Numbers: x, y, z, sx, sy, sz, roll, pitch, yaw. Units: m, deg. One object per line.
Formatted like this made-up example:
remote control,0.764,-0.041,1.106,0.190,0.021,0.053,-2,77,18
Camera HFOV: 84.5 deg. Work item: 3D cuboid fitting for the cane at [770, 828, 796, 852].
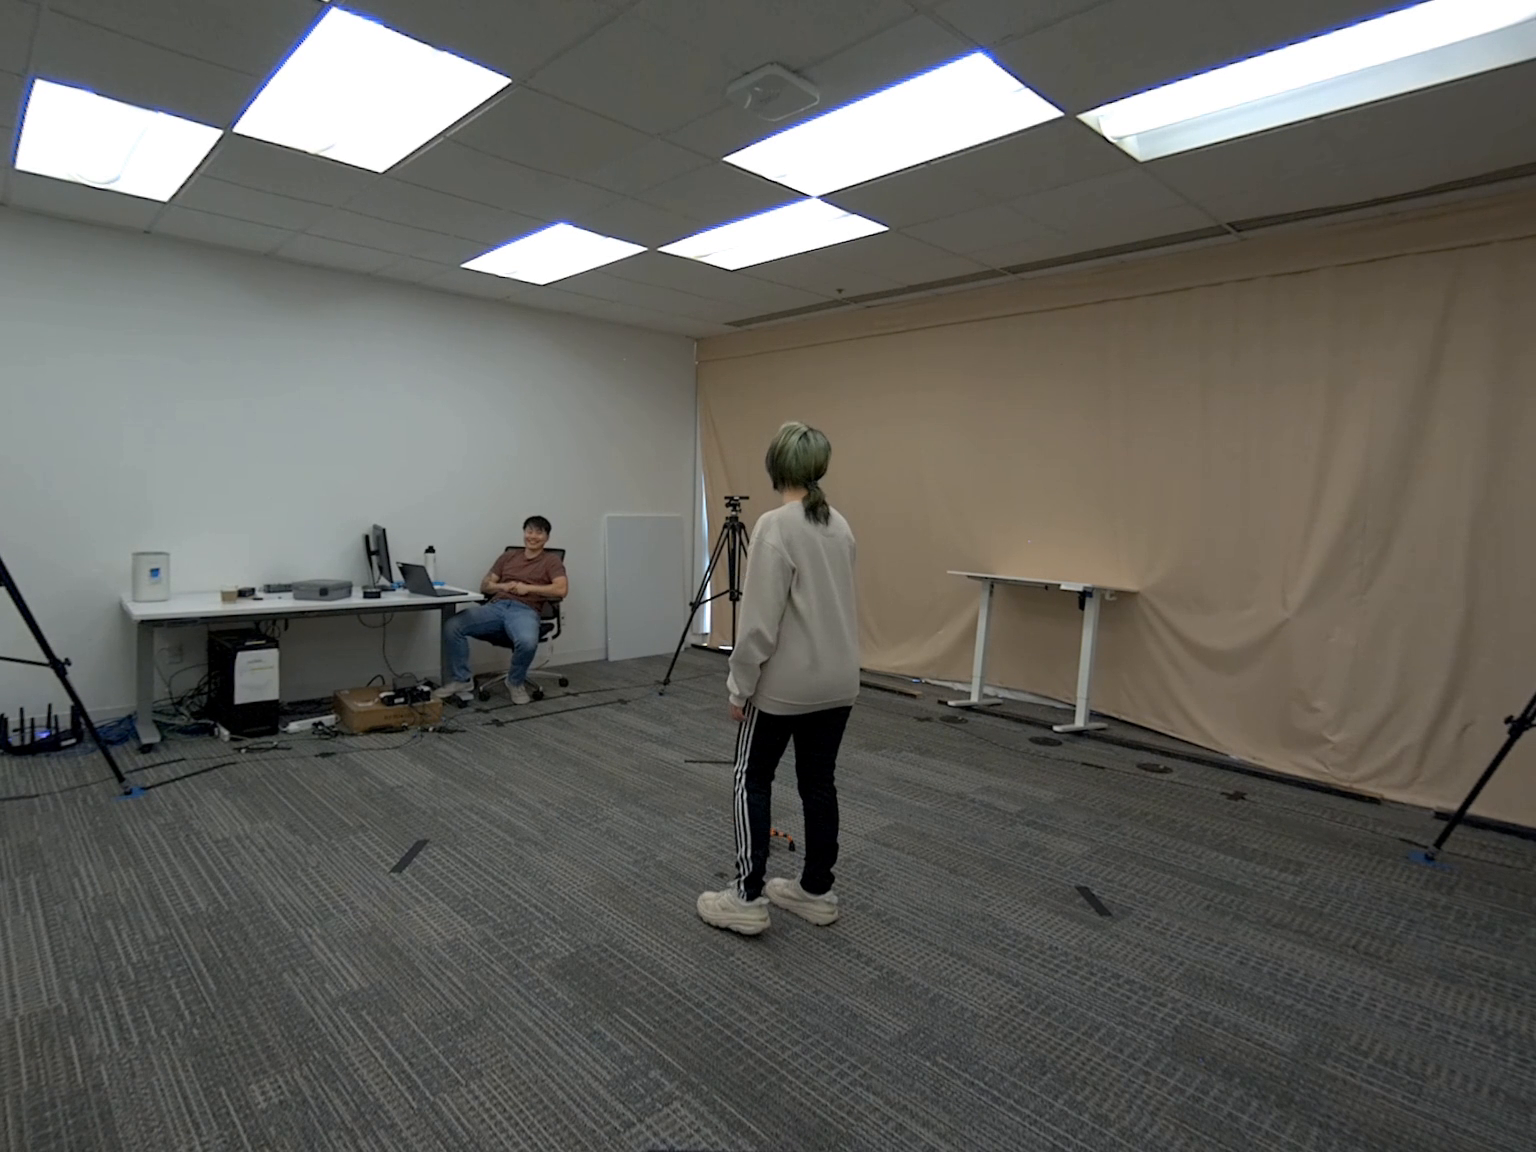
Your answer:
cane,-0.001,0.631,3.361,0.148,0.906,0.211,0,4,-33
